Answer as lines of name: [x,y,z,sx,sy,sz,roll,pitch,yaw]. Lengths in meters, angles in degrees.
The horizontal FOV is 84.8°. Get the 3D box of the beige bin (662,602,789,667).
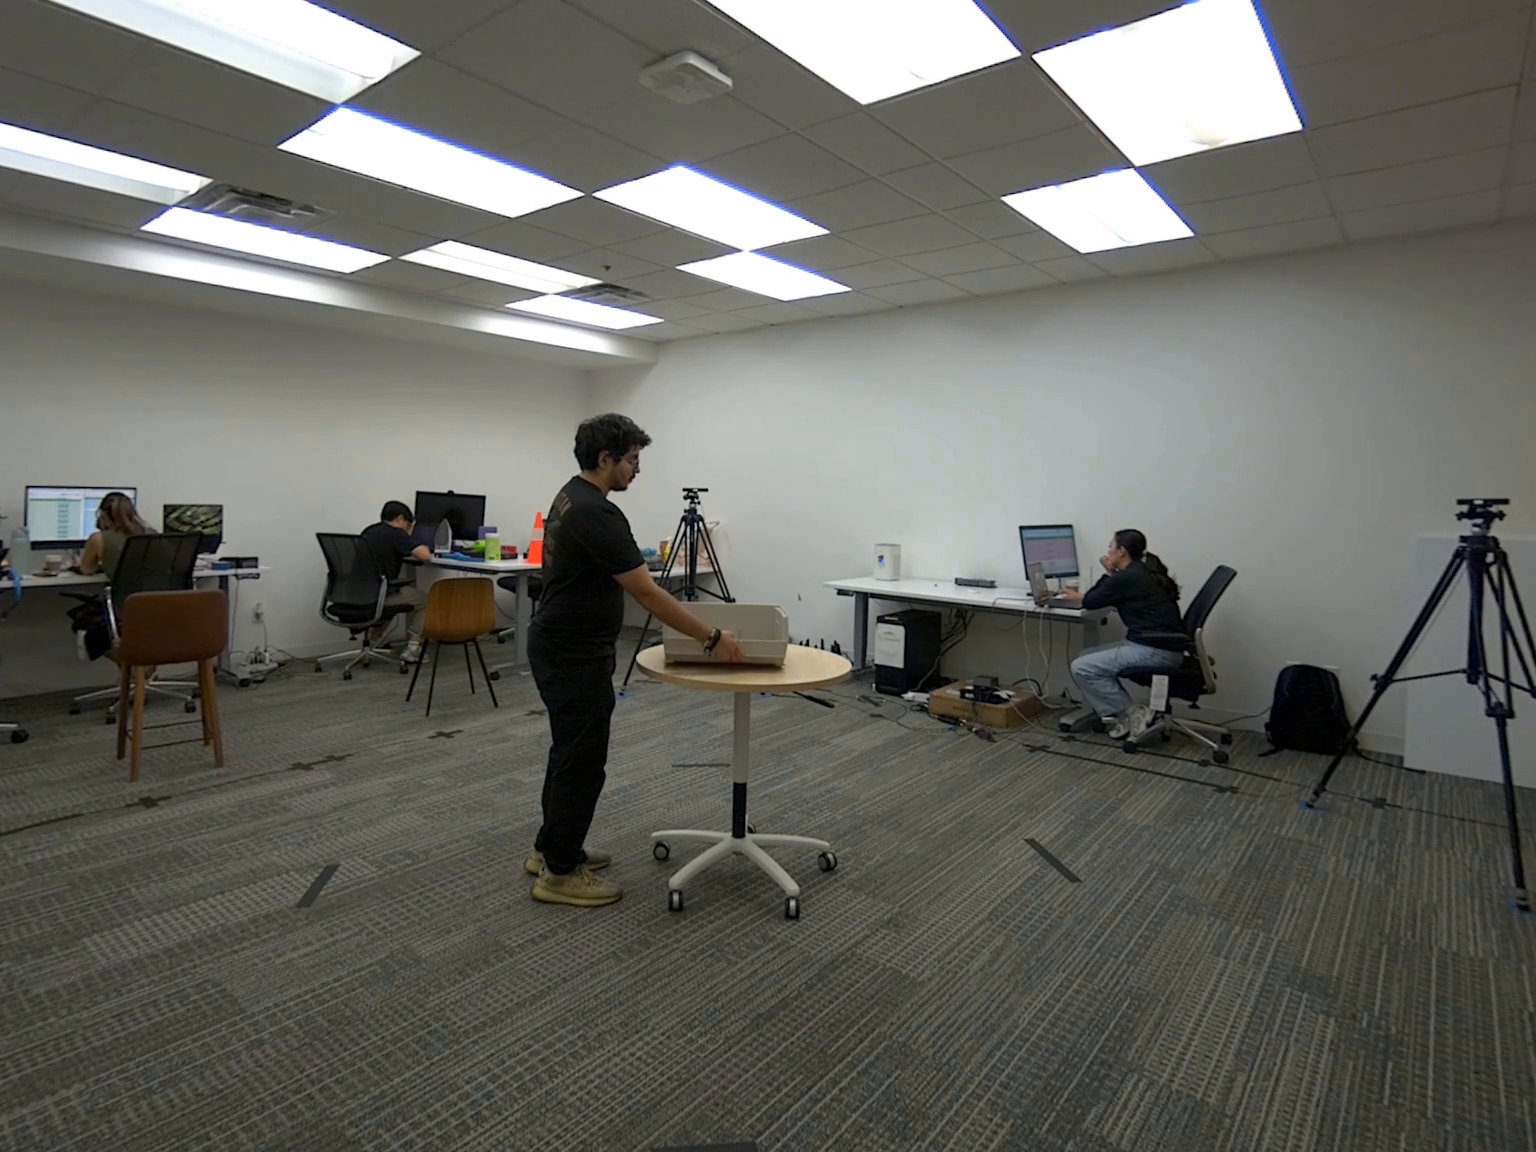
beige bin: [-0.158,0.204,2.985,0.421,0.189,0.379,1,2,-3]
